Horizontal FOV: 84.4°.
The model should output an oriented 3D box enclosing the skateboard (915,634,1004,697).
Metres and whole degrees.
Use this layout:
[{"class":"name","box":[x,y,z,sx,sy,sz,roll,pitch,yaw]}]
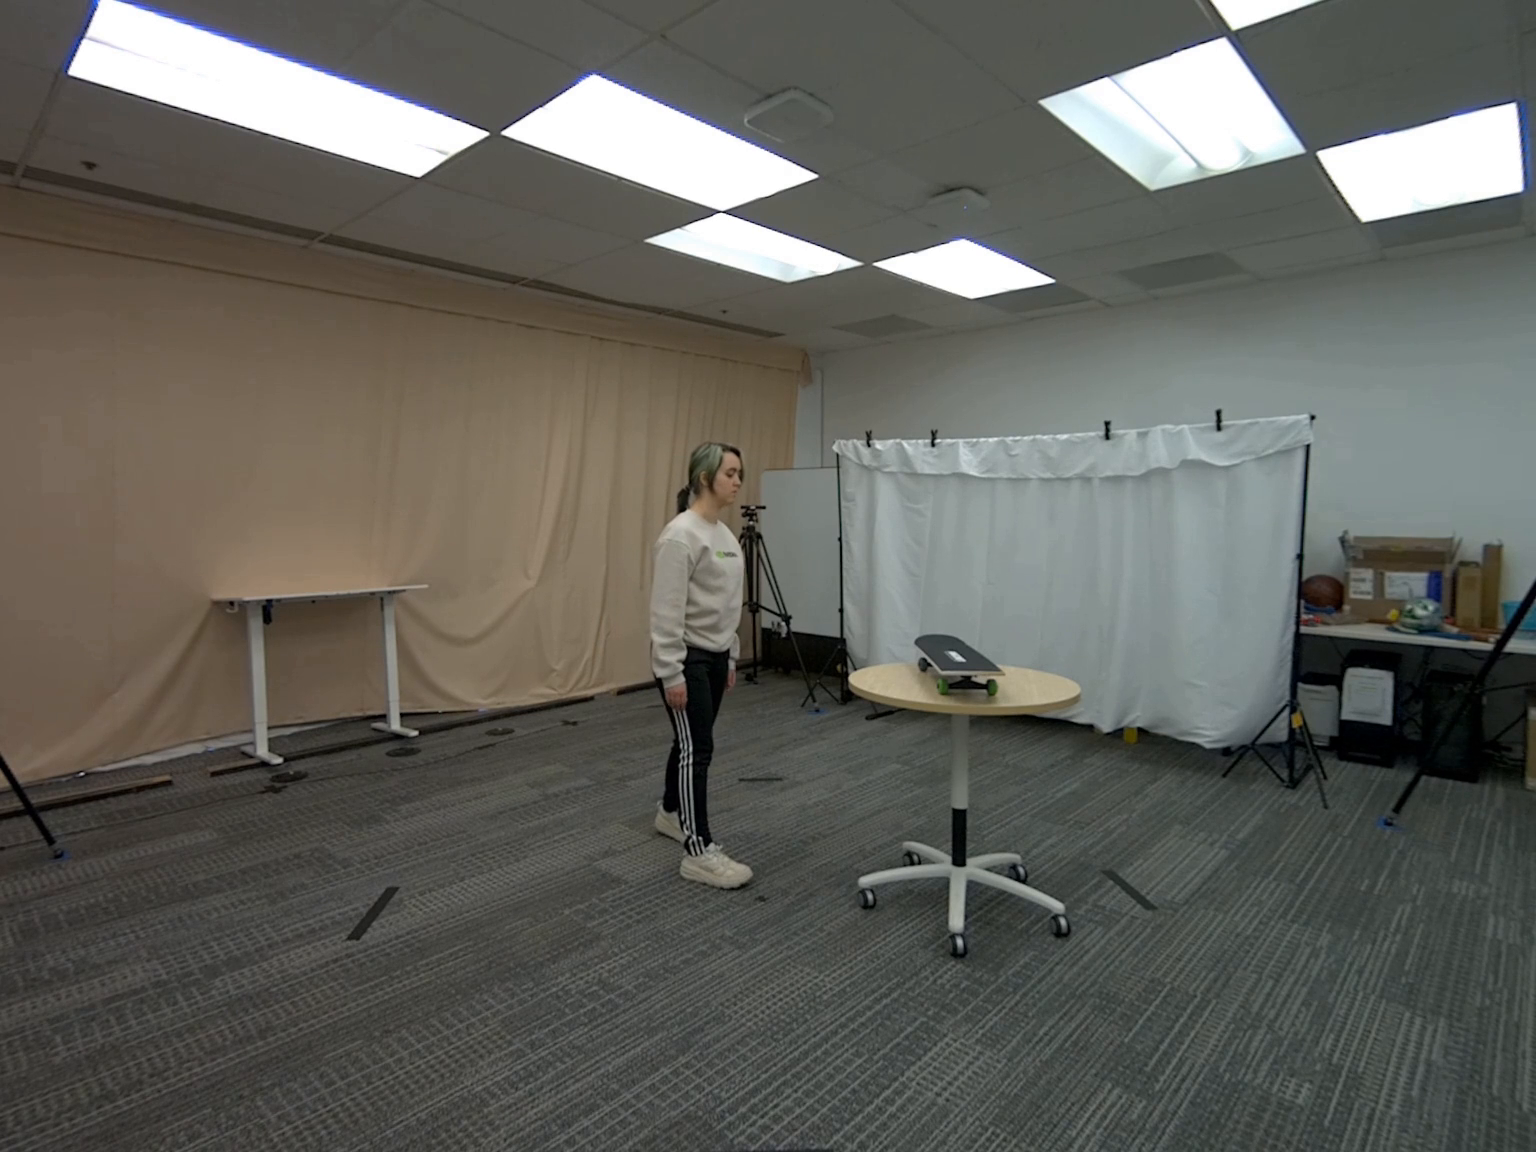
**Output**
[{"class":"skateboard","box":[0.657,0.320,2.892,0.194,0.110,0.785,0,4,1]}]
